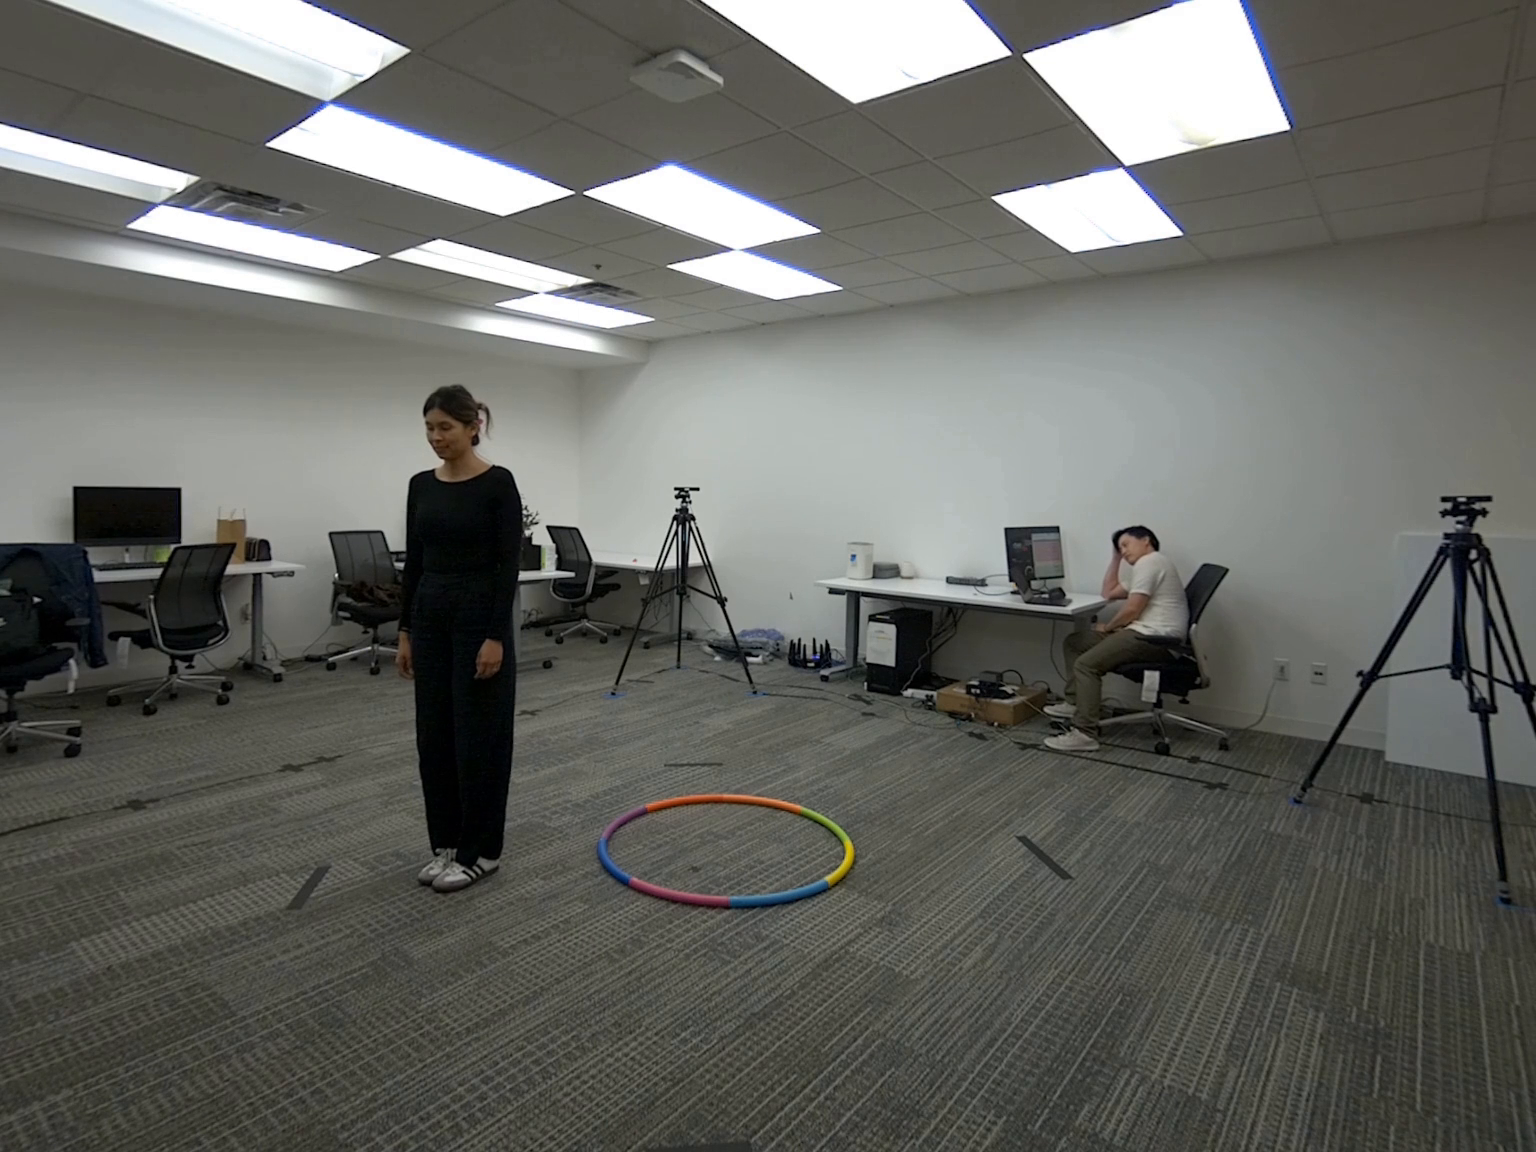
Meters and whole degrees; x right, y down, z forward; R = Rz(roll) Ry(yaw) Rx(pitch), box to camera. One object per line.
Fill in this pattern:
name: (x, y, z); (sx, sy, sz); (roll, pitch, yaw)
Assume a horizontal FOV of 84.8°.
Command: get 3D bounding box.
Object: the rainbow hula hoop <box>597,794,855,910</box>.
rainbow hula hoop: (-0.173, 1.019, 3.294); (0.978, 0.035, 0.984); (1, 6, -2)
